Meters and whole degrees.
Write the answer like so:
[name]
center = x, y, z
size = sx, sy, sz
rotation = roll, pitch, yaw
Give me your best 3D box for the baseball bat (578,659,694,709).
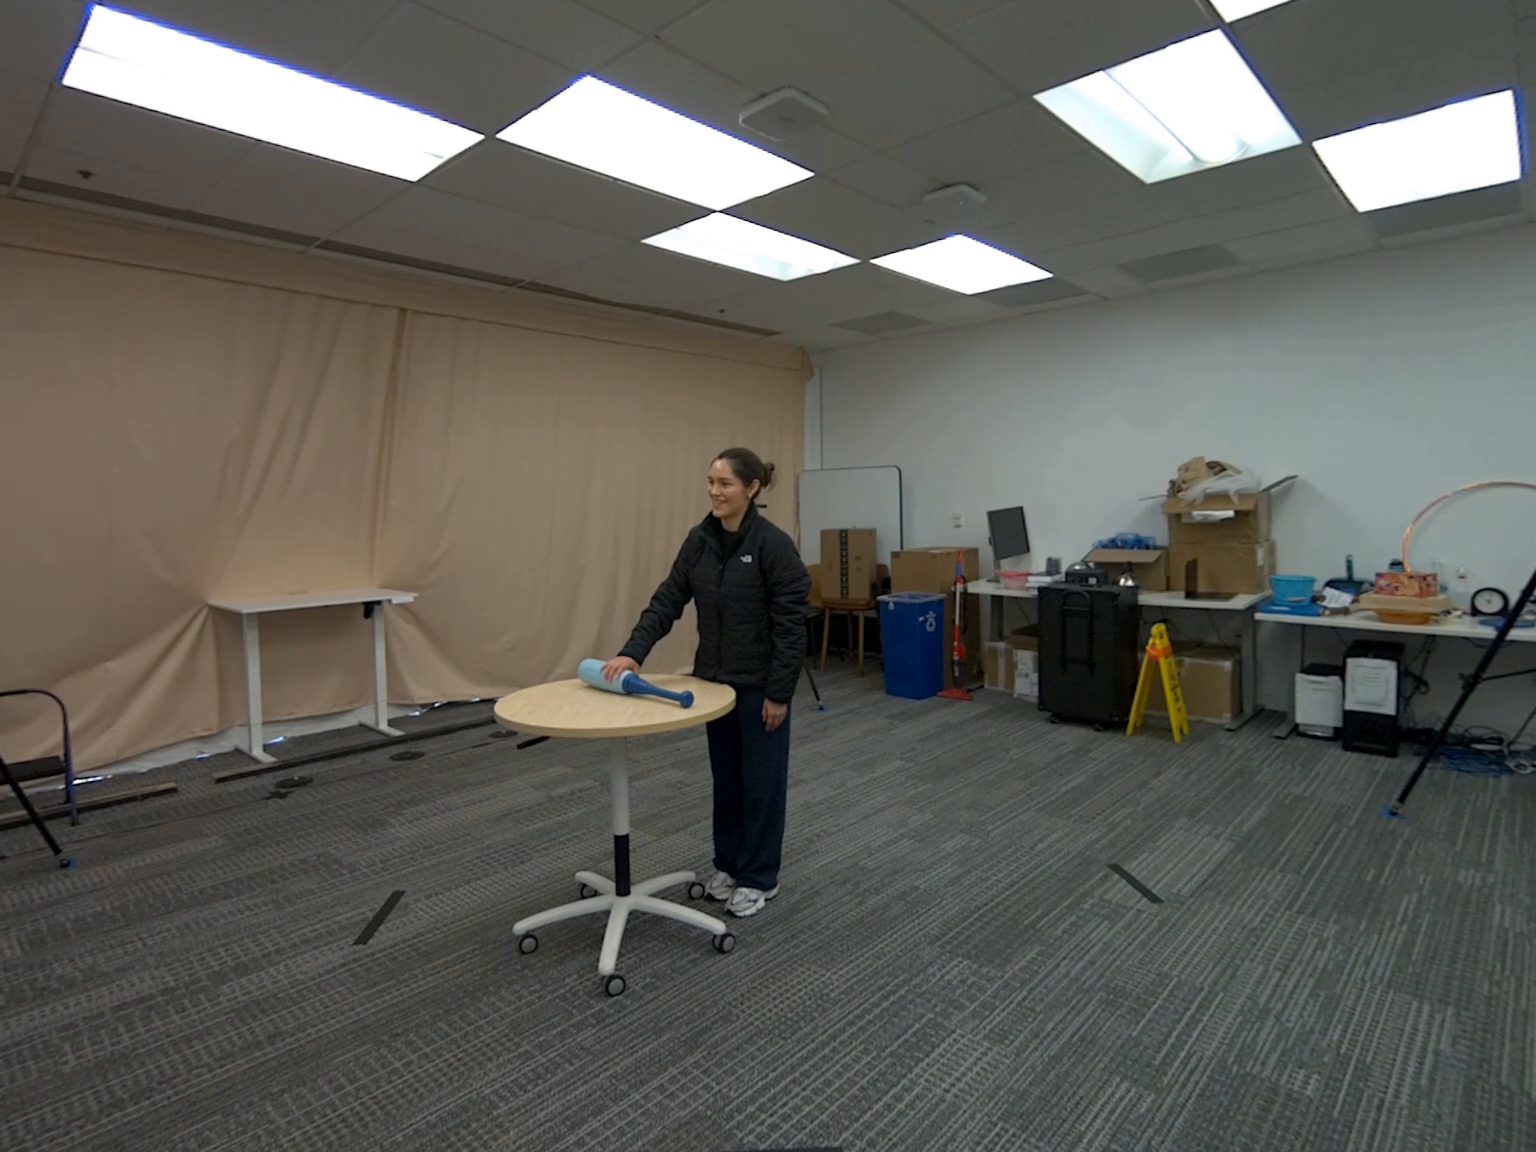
[baseball bat]
center = -0.404, 0.350, 2.736
size = 0.561, 0.089, 0.086
rotation = 5, 7, 43
